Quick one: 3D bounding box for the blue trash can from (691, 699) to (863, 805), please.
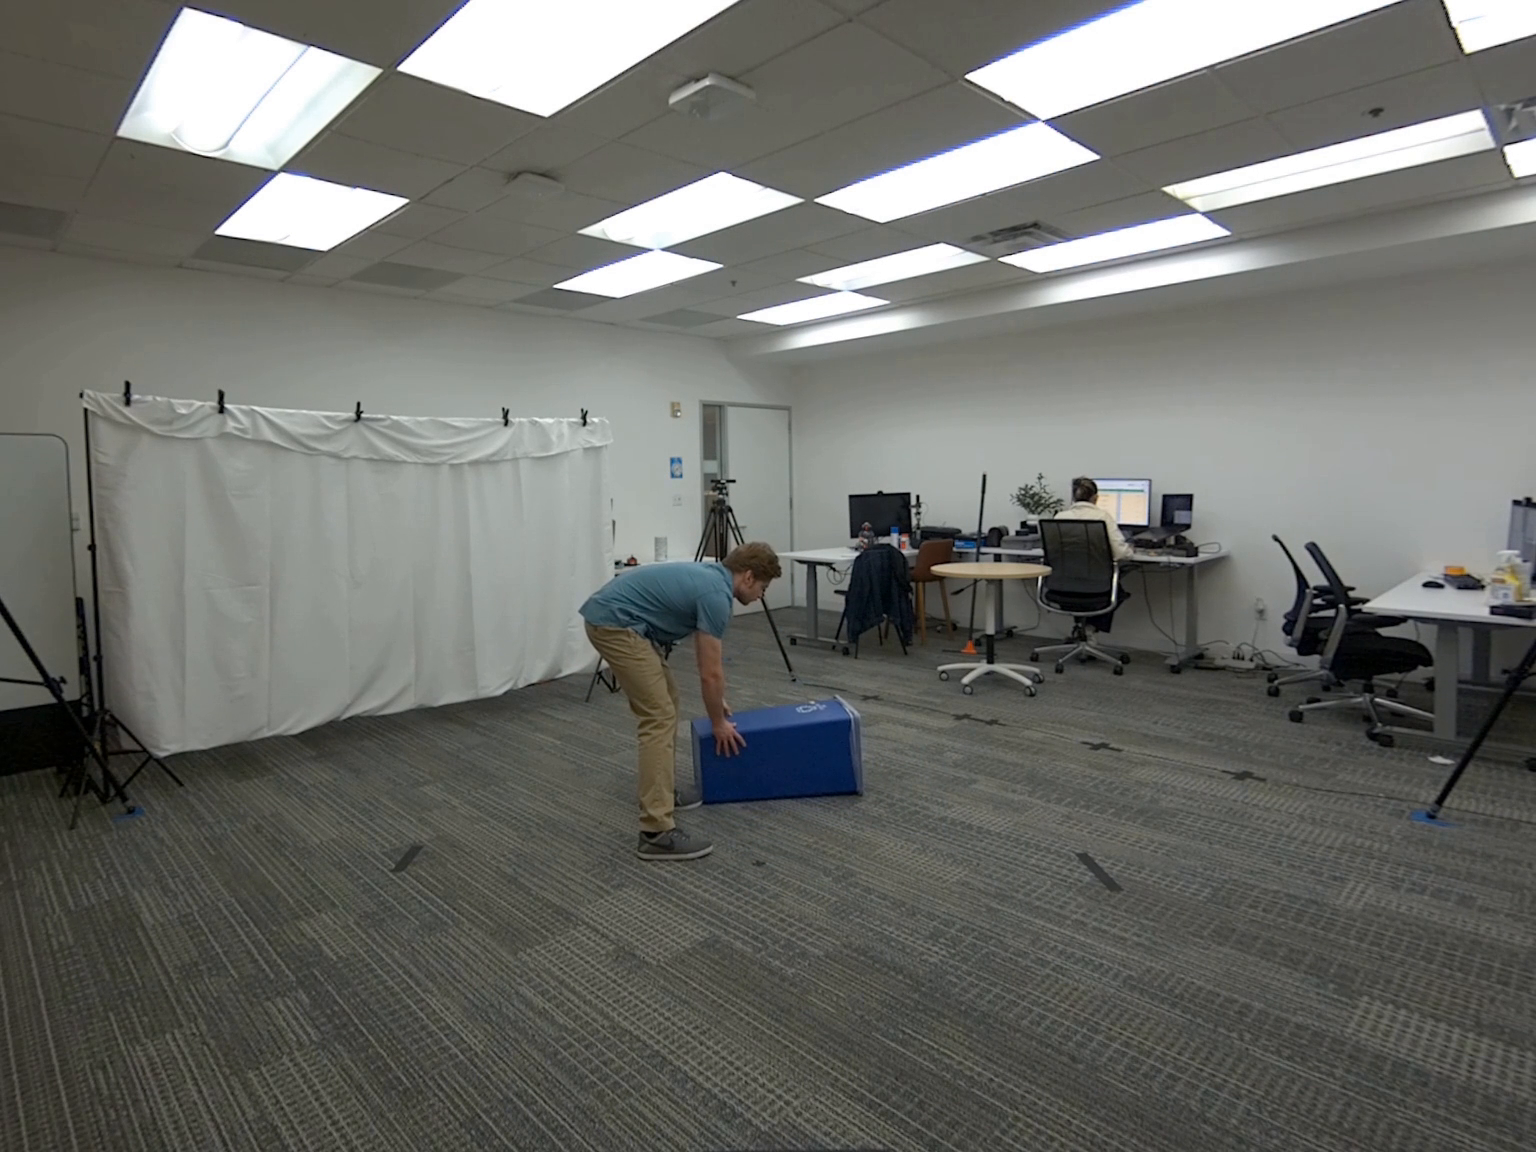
[{"bbox_3d":[0.033,0.796,3.864,0.707,0.376,0.379,-5,5,-10],"label":"blue trash can"}]
